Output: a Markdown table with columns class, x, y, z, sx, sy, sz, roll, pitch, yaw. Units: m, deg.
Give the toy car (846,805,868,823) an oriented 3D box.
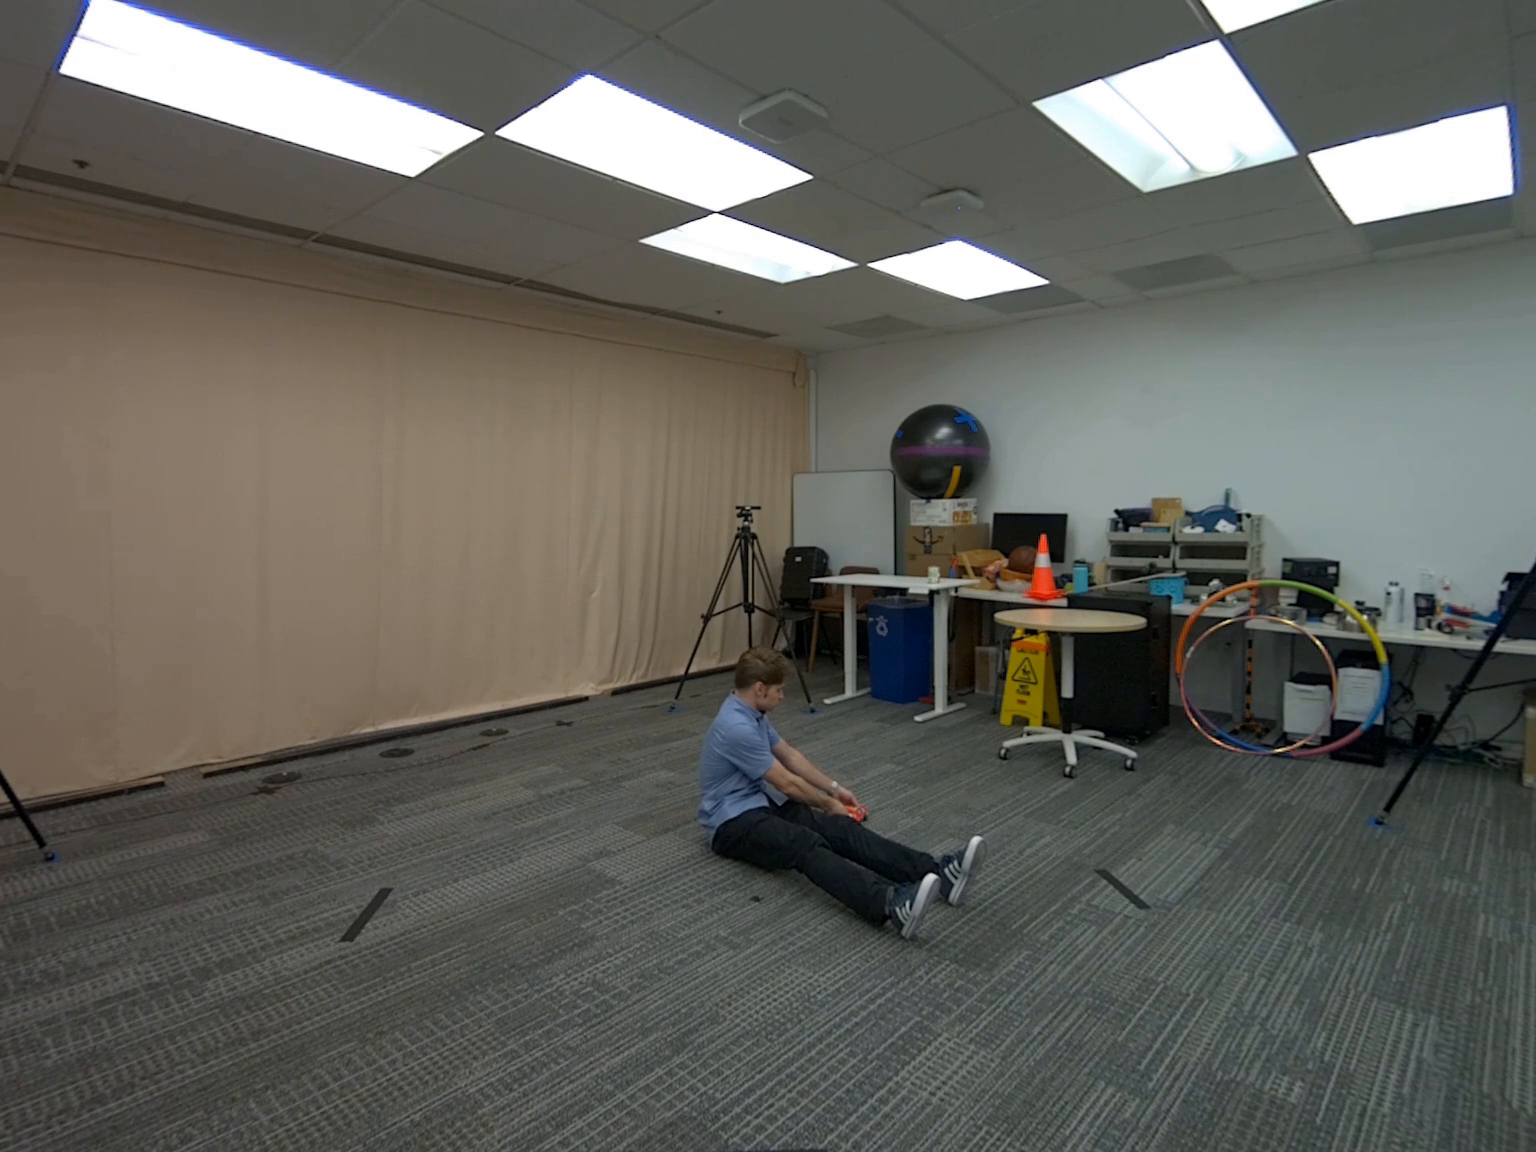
| class | x | y | z | sx | sy | sz | roll | pitch | yaw |
| --- | --- | --- | --- | --- | --- | --- | --- | --- | --- |
| toy car | 0.353 | 1.050 | 3.658 | 0.133 | 0.084 | 0.247 | -1 | -11 | 23 |
